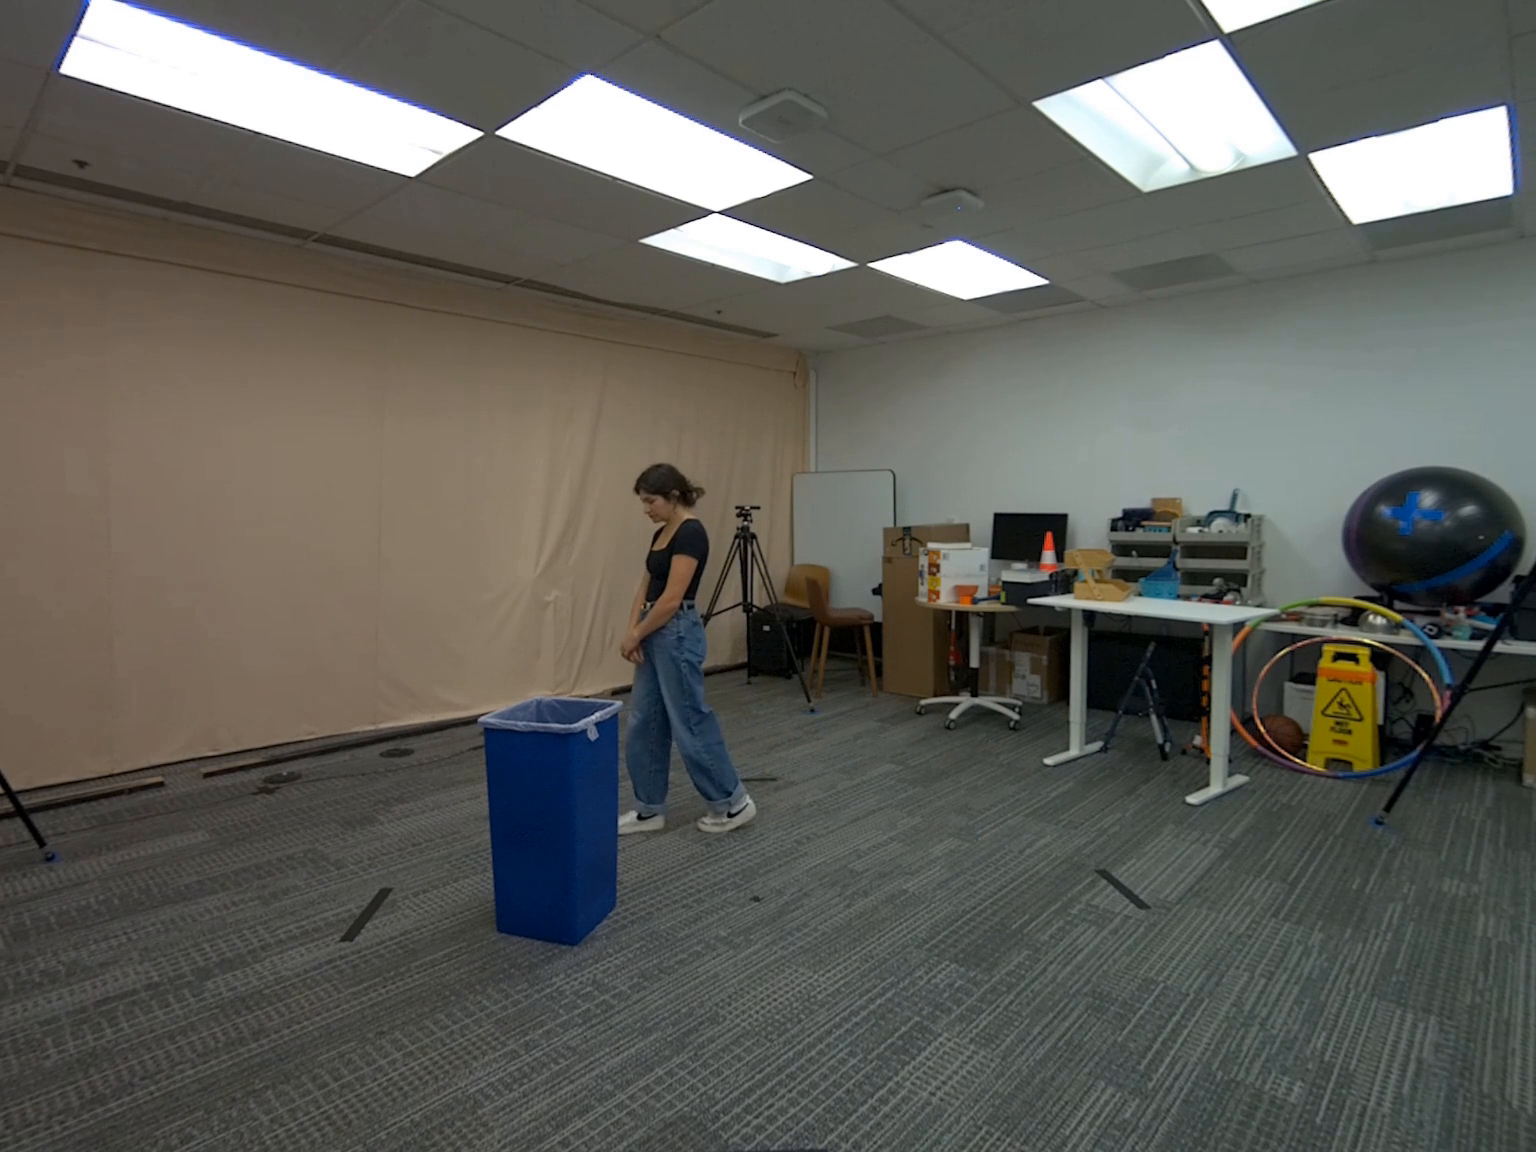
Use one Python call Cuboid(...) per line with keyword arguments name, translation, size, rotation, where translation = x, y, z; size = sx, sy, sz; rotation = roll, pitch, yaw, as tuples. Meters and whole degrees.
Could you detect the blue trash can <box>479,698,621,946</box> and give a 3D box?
Cuboid(name="blue trash can", translation=(-0.724, 0.805, 2.839), size=(0.381, 0.712, 0.371), rotation=(1, 3, 17))
